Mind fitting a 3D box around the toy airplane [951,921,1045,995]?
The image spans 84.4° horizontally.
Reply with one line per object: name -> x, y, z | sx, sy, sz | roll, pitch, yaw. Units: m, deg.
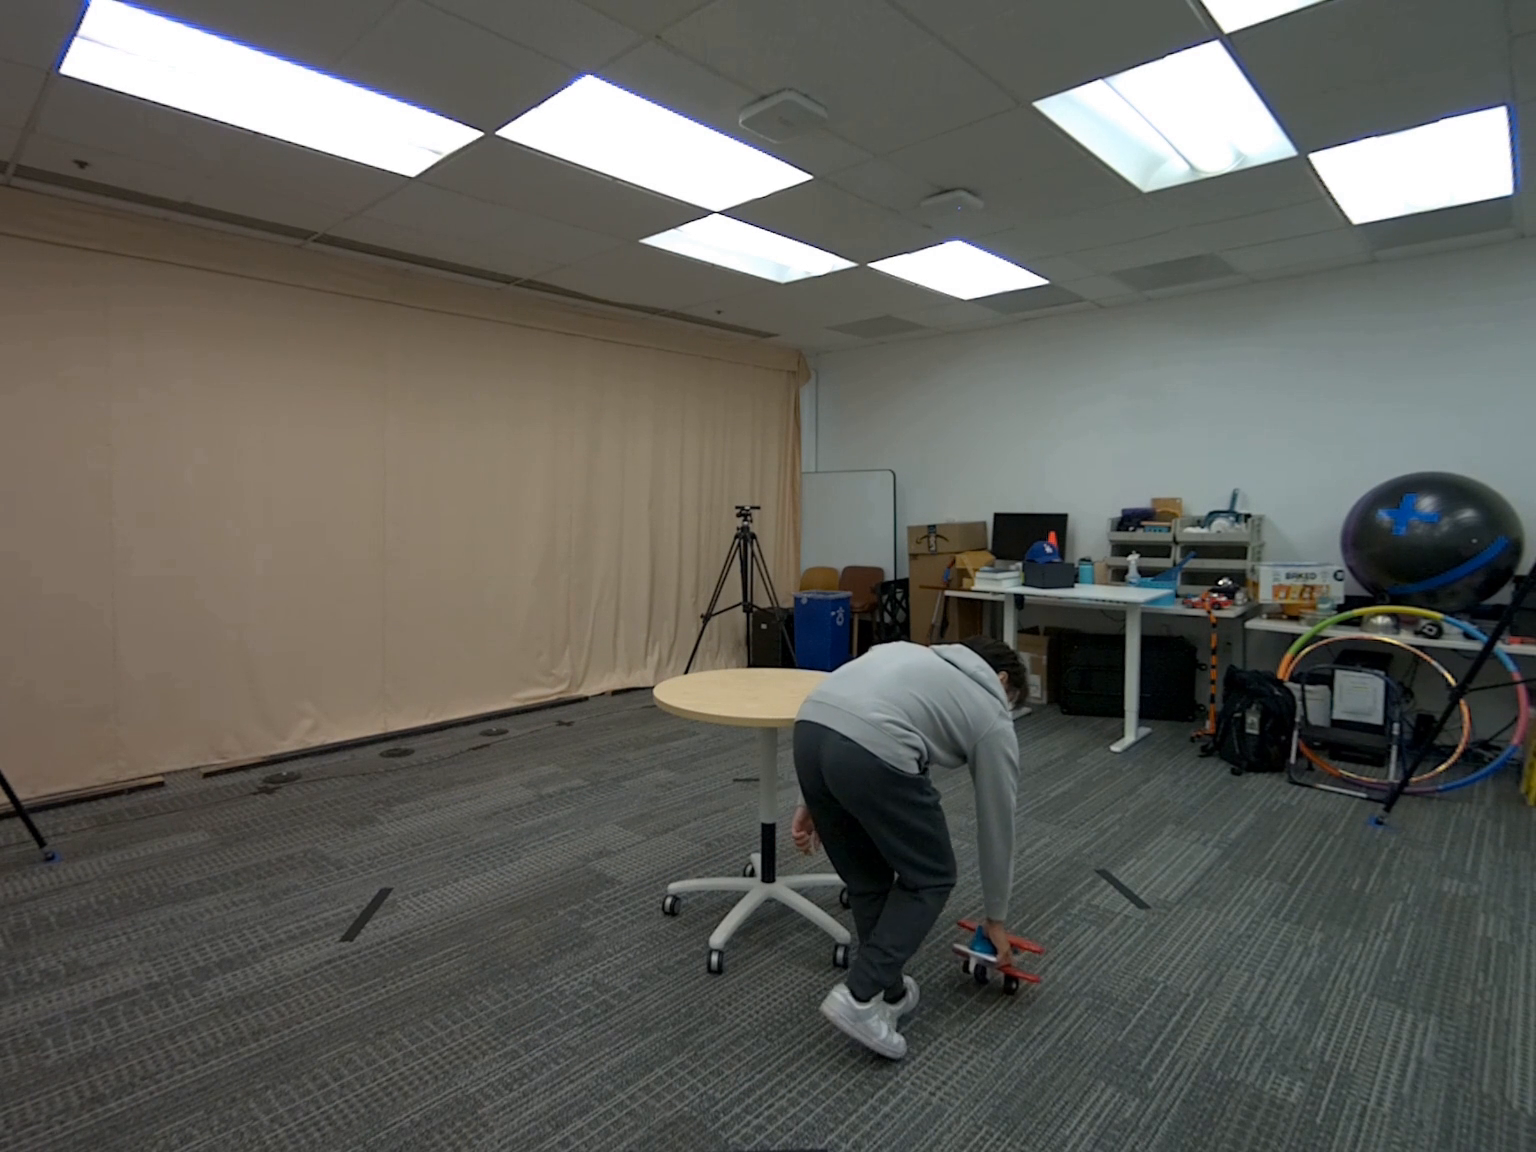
toy airplane -> 0.657, 1.083, 2.387 | 0.256, 0.157, 0.253 | 18, -23, 16
